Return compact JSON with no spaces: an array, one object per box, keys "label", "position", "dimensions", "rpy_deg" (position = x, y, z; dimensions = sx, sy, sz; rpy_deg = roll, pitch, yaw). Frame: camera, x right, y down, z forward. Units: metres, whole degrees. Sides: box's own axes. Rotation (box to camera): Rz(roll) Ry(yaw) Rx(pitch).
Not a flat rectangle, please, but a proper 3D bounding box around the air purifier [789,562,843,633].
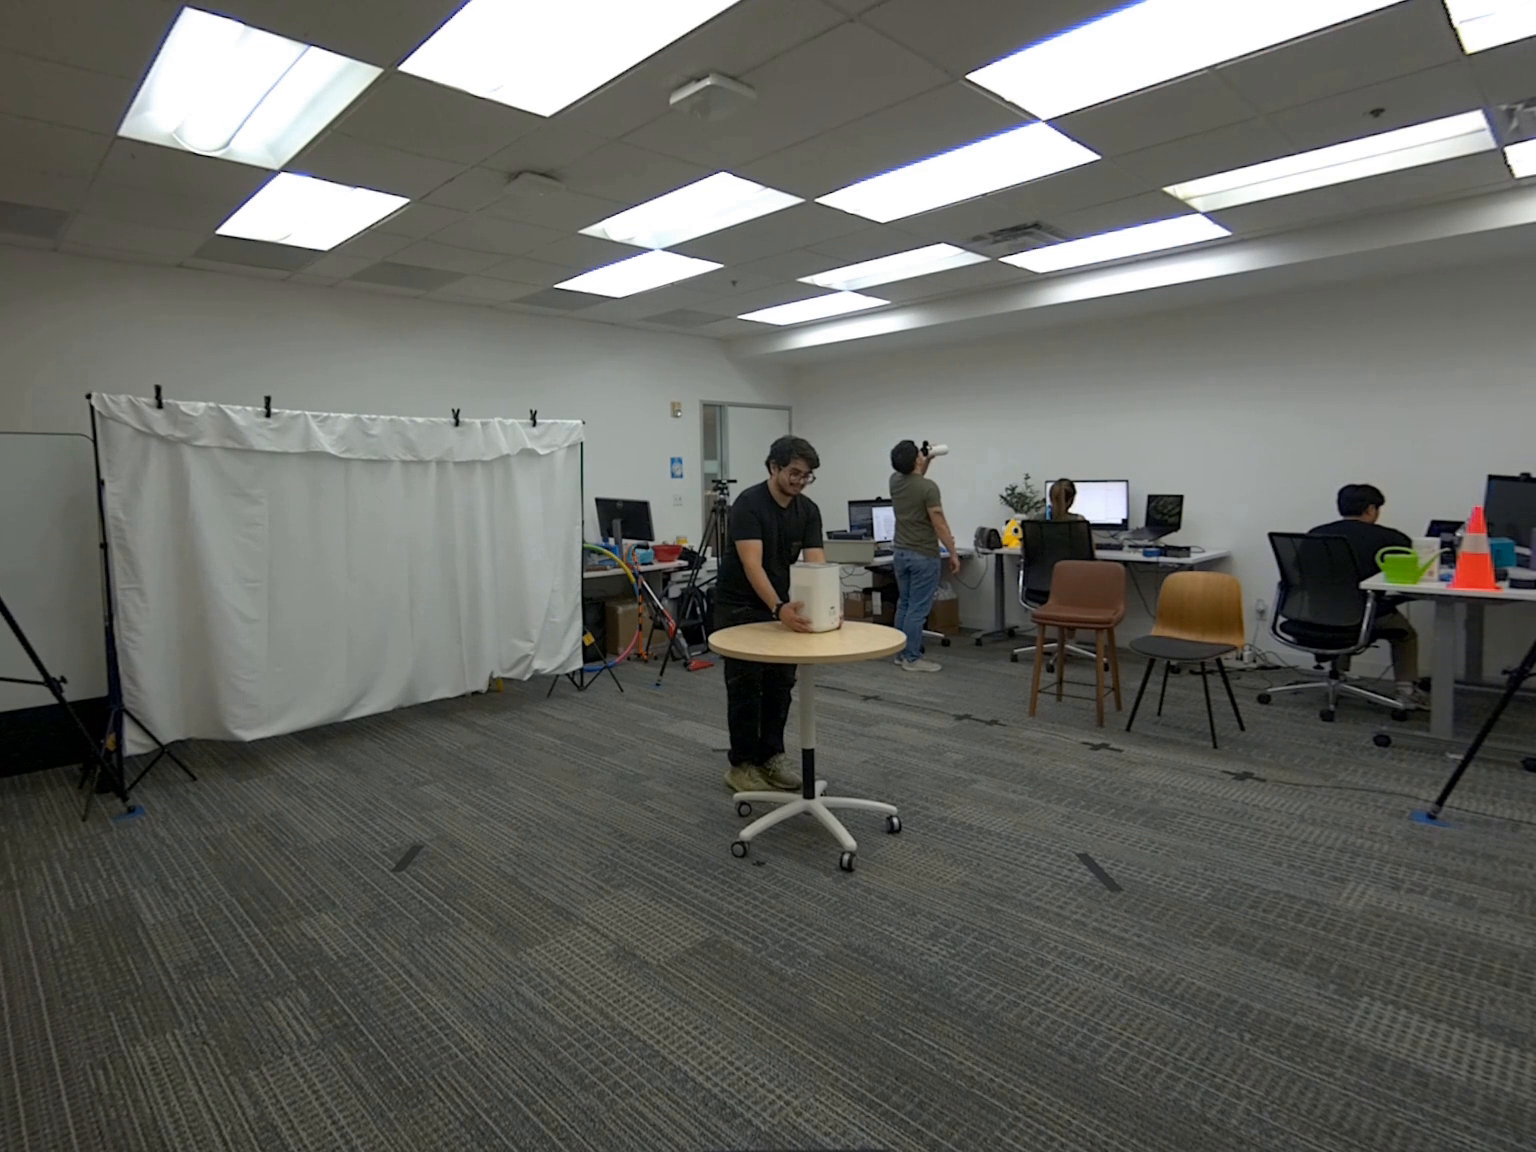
[{"label":"air purifier","position":[0.196,0.087,3.475],"dimensions":[0.177,0.264,0.166],"rpy_deg":[2,5,40]}]
